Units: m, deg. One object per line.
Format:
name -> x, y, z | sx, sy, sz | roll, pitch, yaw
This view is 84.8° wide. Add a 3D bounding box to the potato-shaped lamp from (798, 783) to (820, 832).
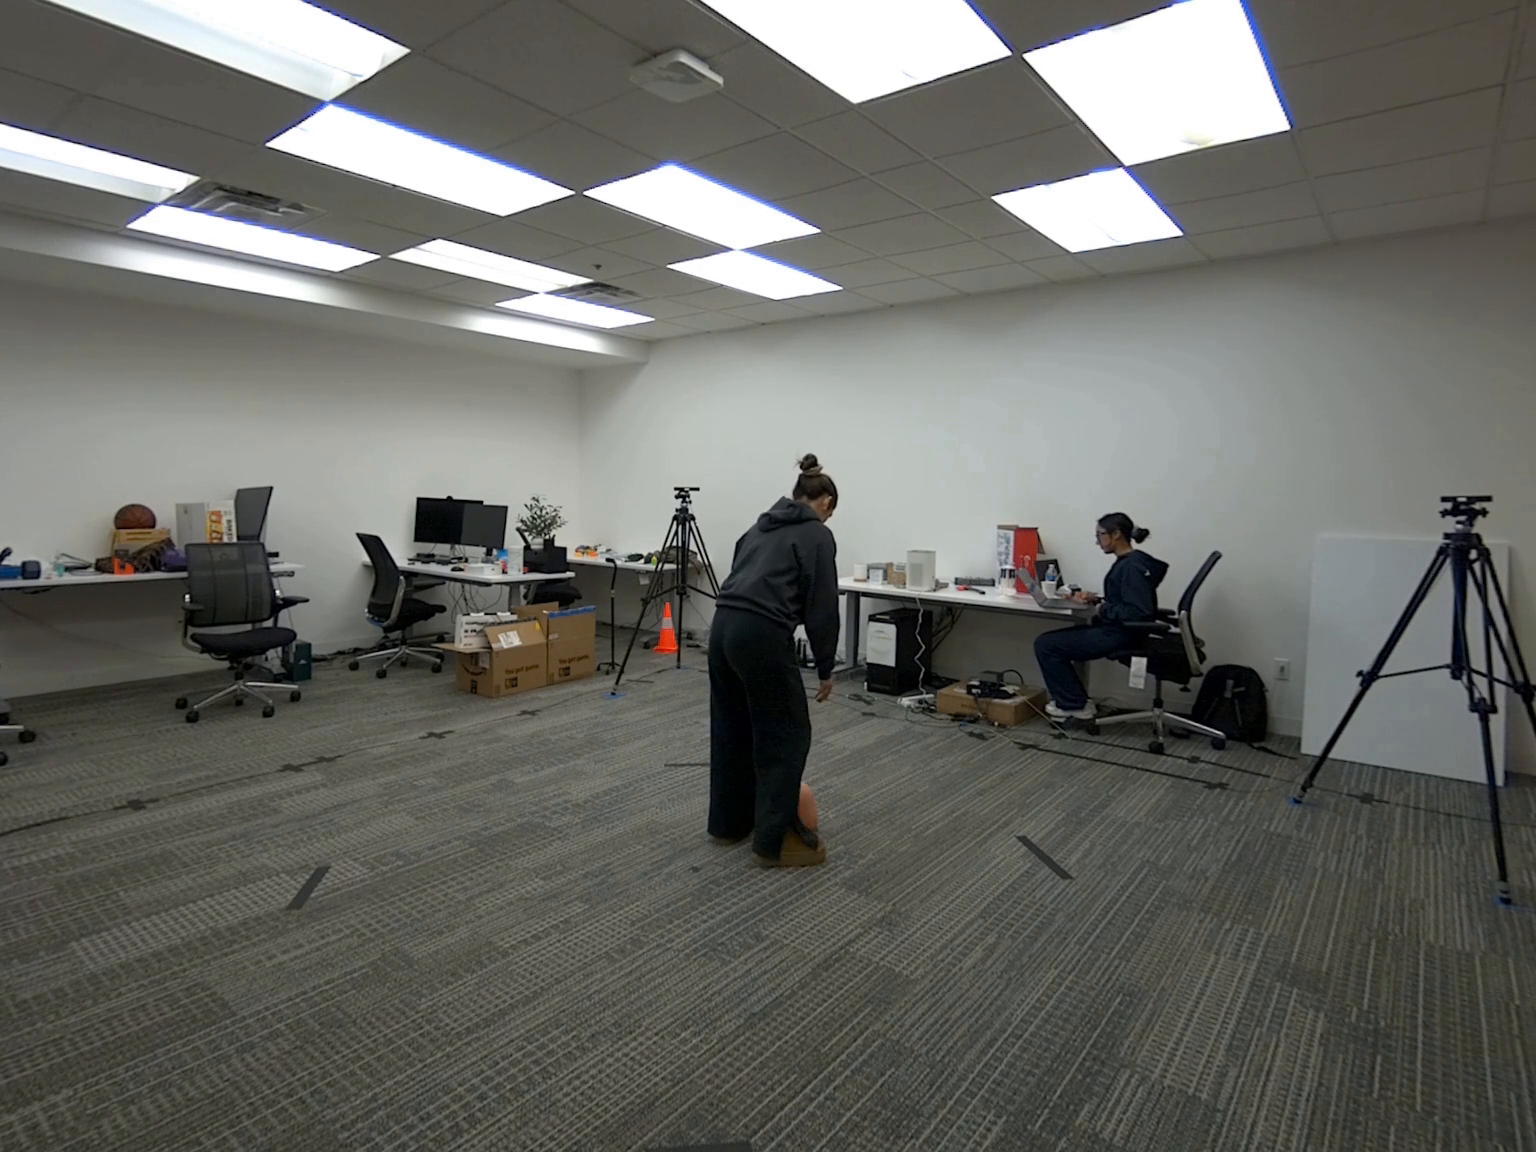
potato-shaped lamp -> 0.124, 0.936, 3.478 | 0.170, 0.197, 0.166 | 6, 7, 38
